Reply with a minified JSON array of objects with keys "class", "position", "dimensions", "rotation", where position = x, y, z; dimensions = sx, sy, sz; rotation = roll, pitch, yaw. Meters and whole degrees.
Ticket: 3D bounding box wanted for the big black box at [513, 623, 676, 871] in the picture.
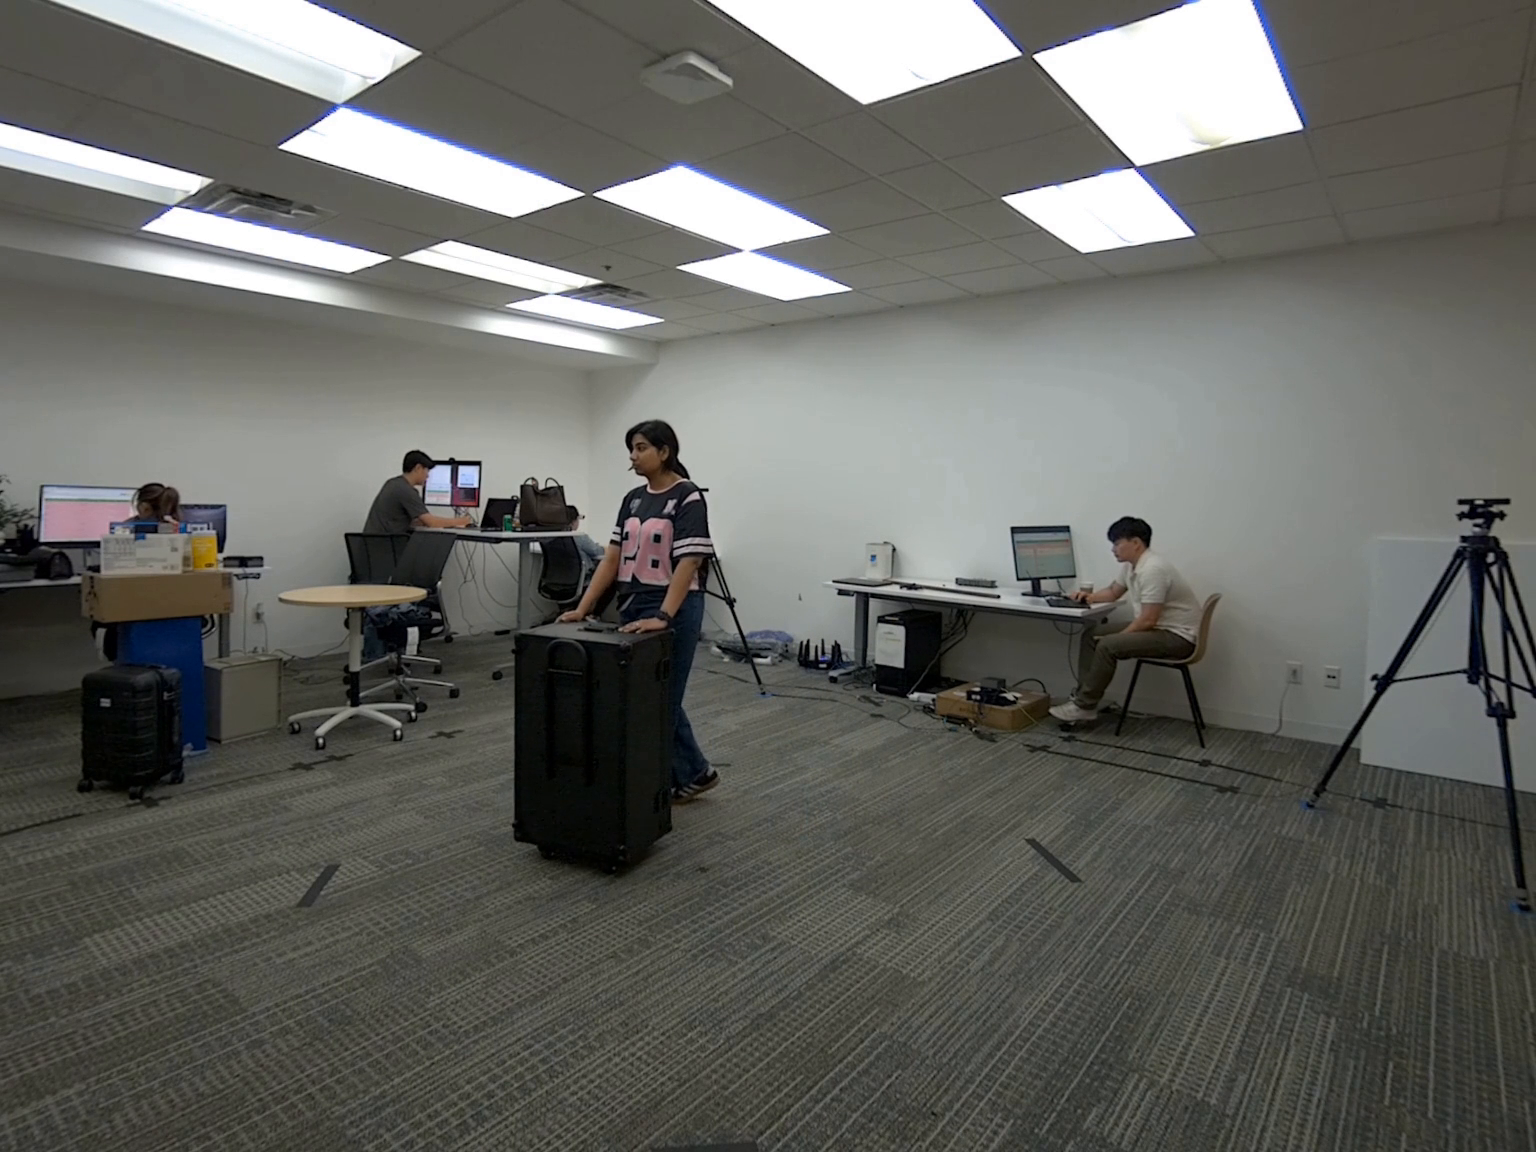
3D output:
[{"class":"big black box","position":[-0.663,0.631,3.195],"dimensions":[0.535,0.866,0.377],"rotation":[2,3,22]}]
